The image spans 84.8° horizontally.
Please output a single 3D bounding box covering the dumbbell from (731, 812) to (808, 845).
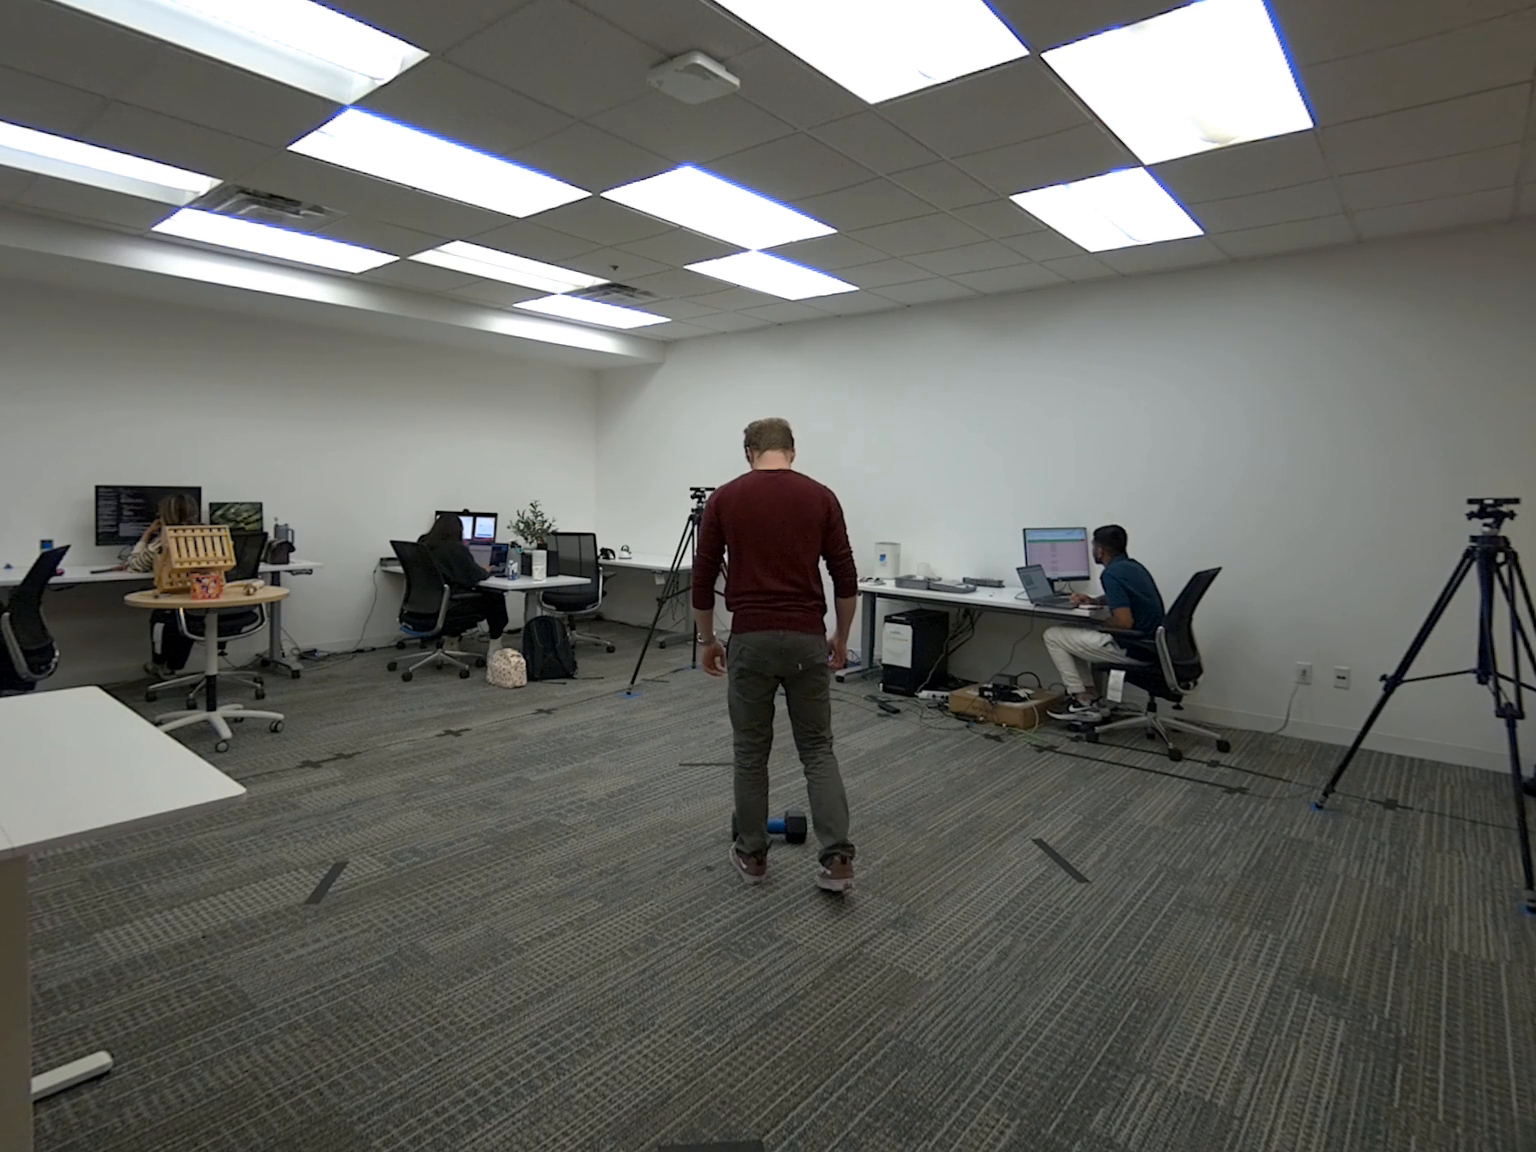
[{"bbox_3d":[0.000,0.994,3.375,0.292,0.120,0.112,1,33,-3],"label":"dumbbell"}]
